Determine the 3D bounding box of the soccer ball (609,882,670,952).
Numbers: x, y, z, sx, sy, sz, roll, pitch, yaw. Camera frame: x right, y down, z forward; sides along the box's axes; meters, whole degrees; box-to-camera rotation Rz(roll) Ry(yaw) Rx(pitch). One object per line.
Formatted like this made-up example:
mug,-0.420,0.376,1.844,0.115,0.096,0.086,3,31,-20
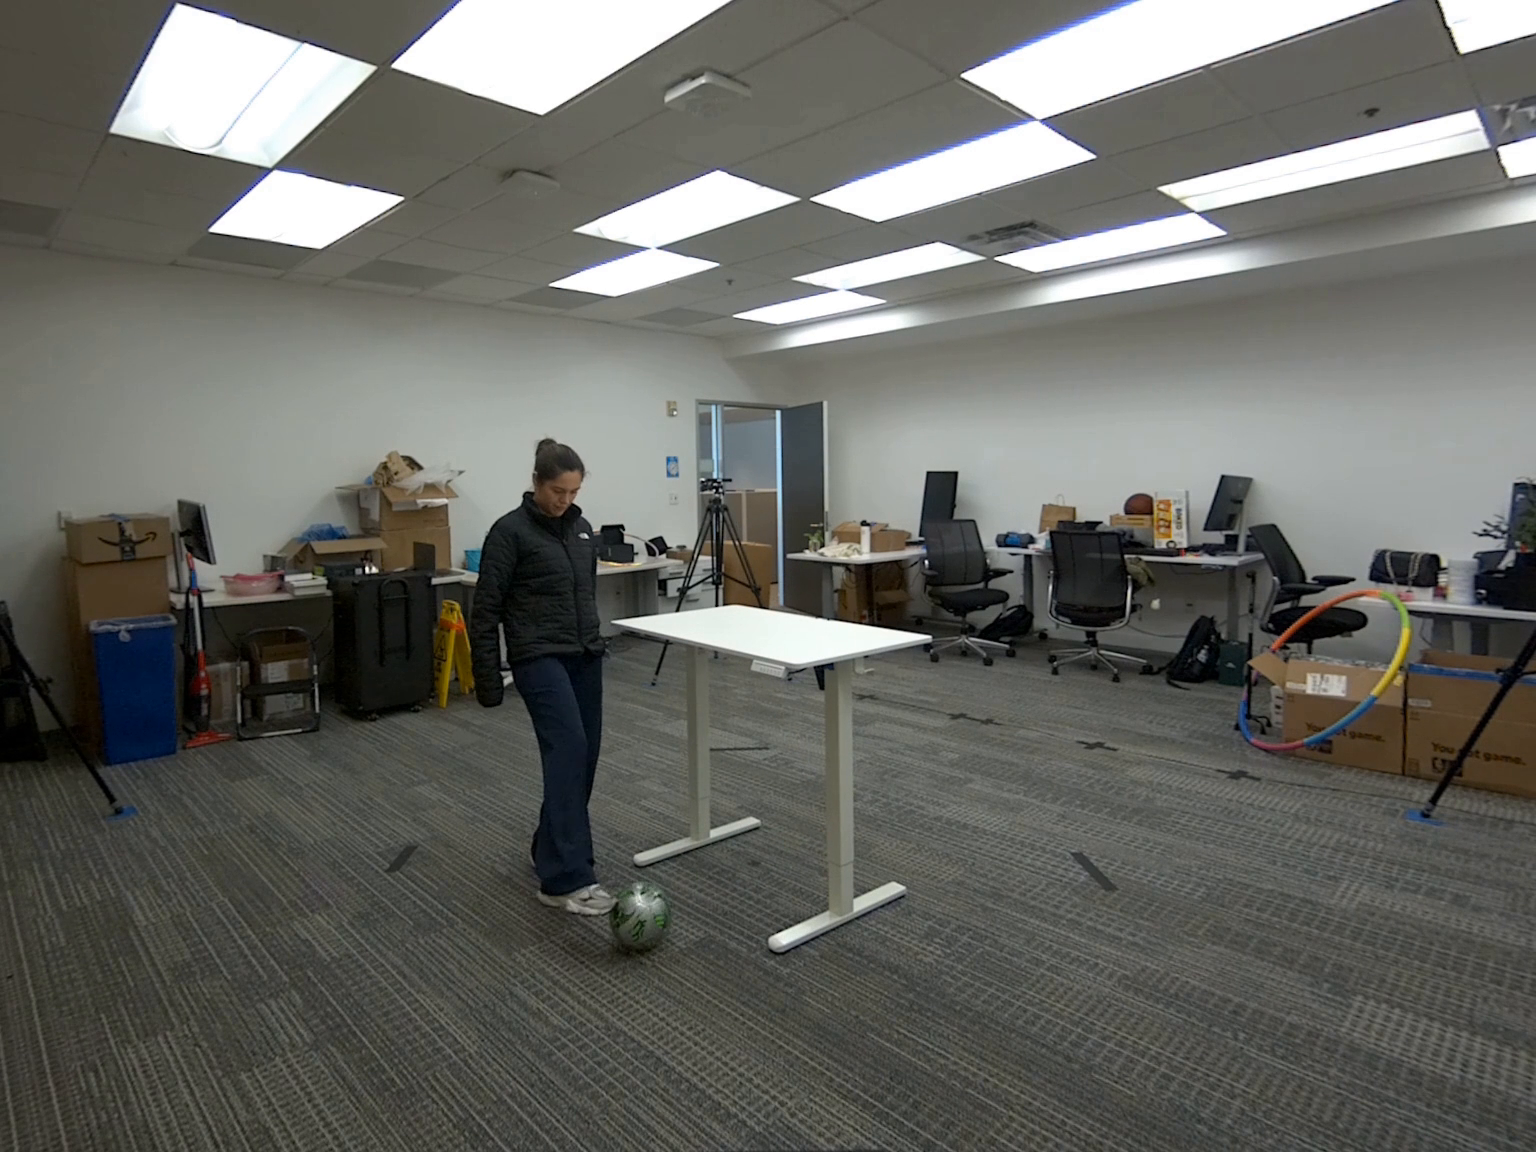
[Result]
soccer ball,-0.378,1.018,2.563,0.187,0.187,0.188,-1,5,-2
